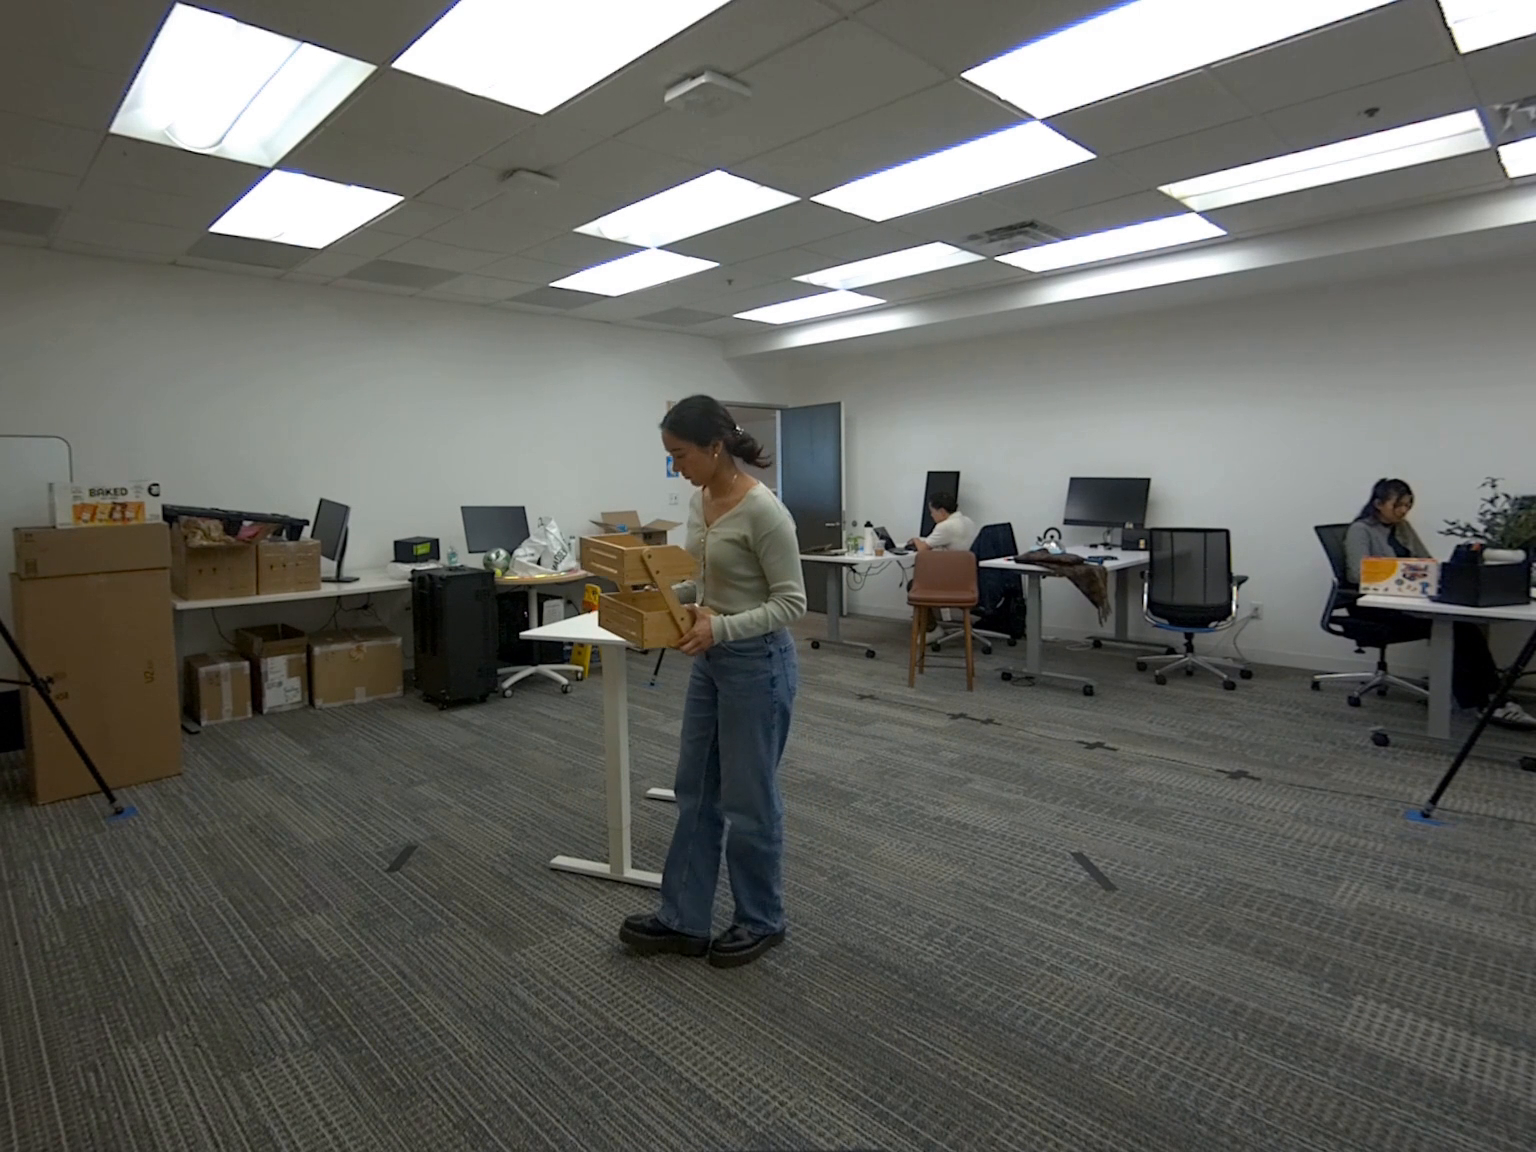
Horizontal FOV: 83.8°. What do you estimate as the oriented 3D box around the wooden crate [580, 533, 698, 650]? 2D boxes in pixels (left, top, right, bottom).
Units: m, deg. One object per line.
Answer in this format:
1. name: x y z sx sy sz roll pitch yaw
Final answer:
1. wooden crate: -0.307 0.022 2.305 0.295 0.271 0.334 -4 9 -31
